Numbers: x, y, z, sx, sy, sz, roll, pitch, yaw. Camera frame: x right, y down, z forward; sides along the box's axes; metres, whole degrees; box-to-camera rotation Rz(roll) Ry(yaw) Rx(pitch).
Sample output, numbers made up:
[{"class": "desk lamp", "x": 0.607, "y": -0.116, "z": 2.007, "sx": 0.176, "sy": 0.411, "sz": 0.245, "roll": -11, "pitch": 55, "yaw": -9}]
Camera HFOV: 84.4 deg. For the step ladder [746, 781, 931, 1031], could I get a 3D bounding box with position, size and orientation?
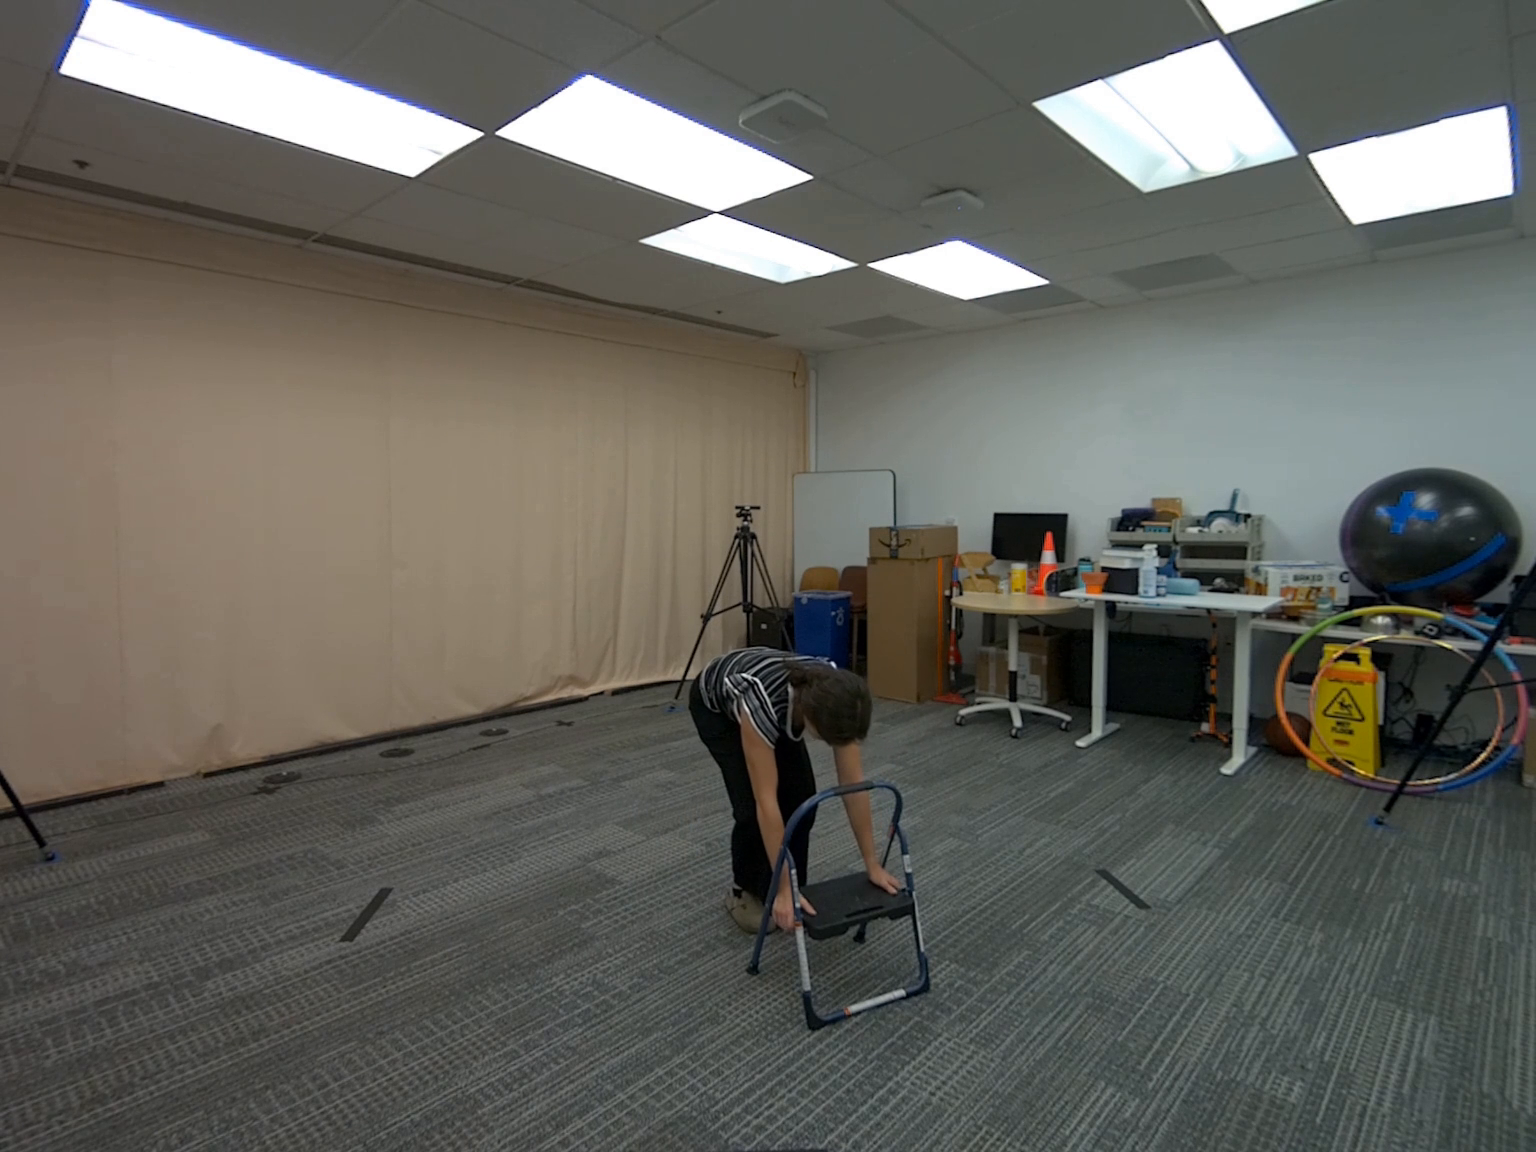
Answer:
[{"class": "step ladder", "x": 0.211, "y": 0.889, "z": 2.456, "sx": 0.419, "sy": 0.605, "sz": 0.359, "roll": -2, "pitch": 4, "yaw": -30}]
